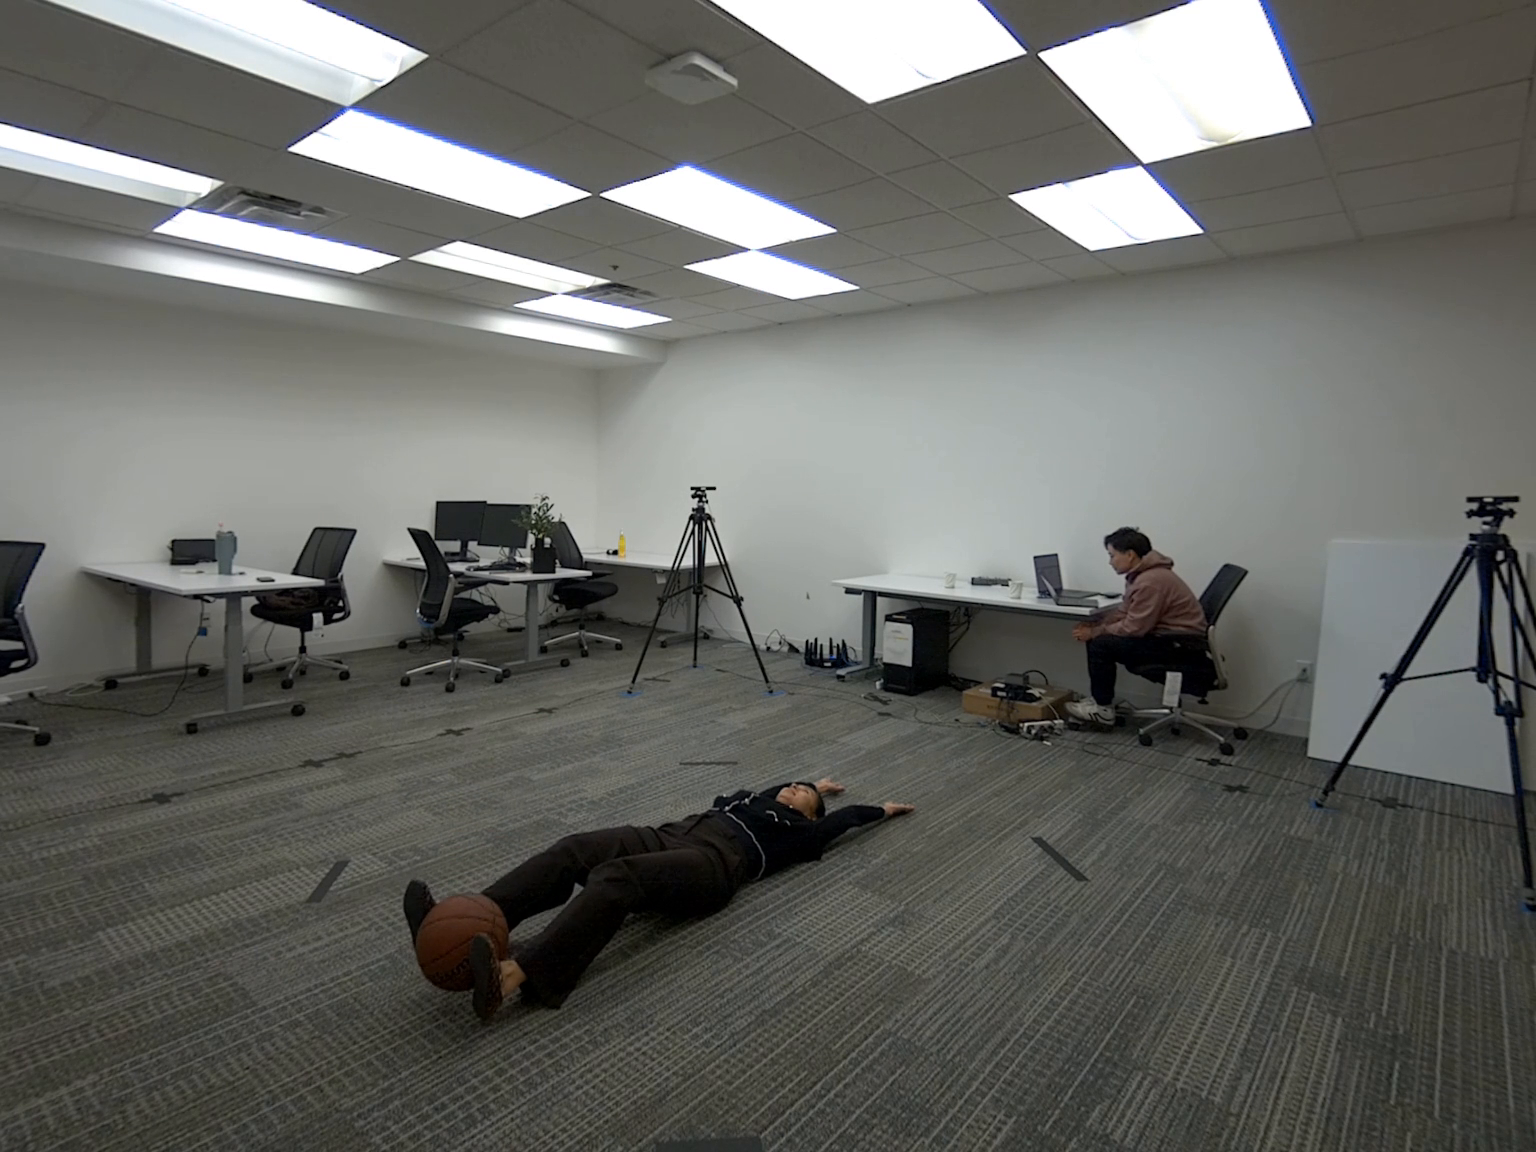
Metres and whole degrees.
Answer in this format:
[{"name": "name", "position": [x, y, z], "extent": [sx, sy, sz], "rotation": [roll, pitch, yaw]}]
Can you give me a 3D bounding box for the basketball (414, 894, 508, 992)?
[{"name": "basketball", "position": [-0.816, 0.962, 2.248], "extent": [0.236, 0.235, 0.237], "rotation": [1, 4, -2]}]
